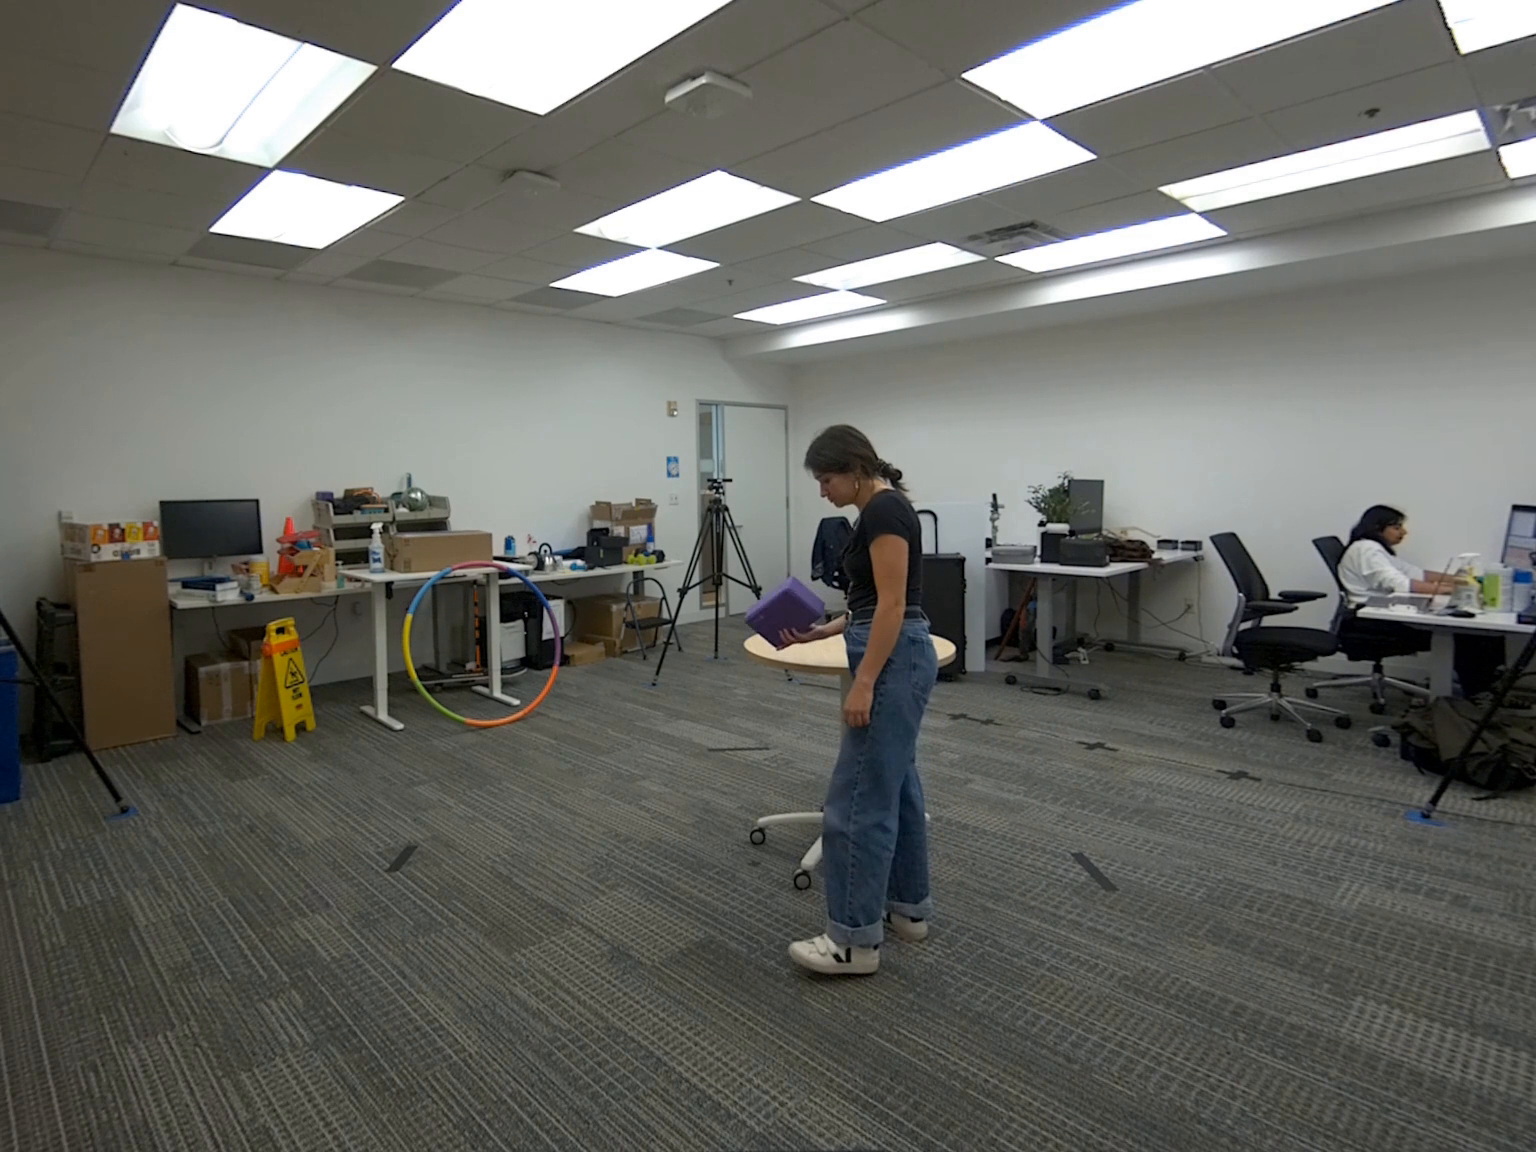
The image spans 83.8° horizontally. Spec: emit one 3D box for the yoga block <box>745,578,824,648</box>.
[{"bbox_3d":[0.061,0.123,2.722,0.230,0.147,0.077,-39,16,39],"label":"yoga block"}]
